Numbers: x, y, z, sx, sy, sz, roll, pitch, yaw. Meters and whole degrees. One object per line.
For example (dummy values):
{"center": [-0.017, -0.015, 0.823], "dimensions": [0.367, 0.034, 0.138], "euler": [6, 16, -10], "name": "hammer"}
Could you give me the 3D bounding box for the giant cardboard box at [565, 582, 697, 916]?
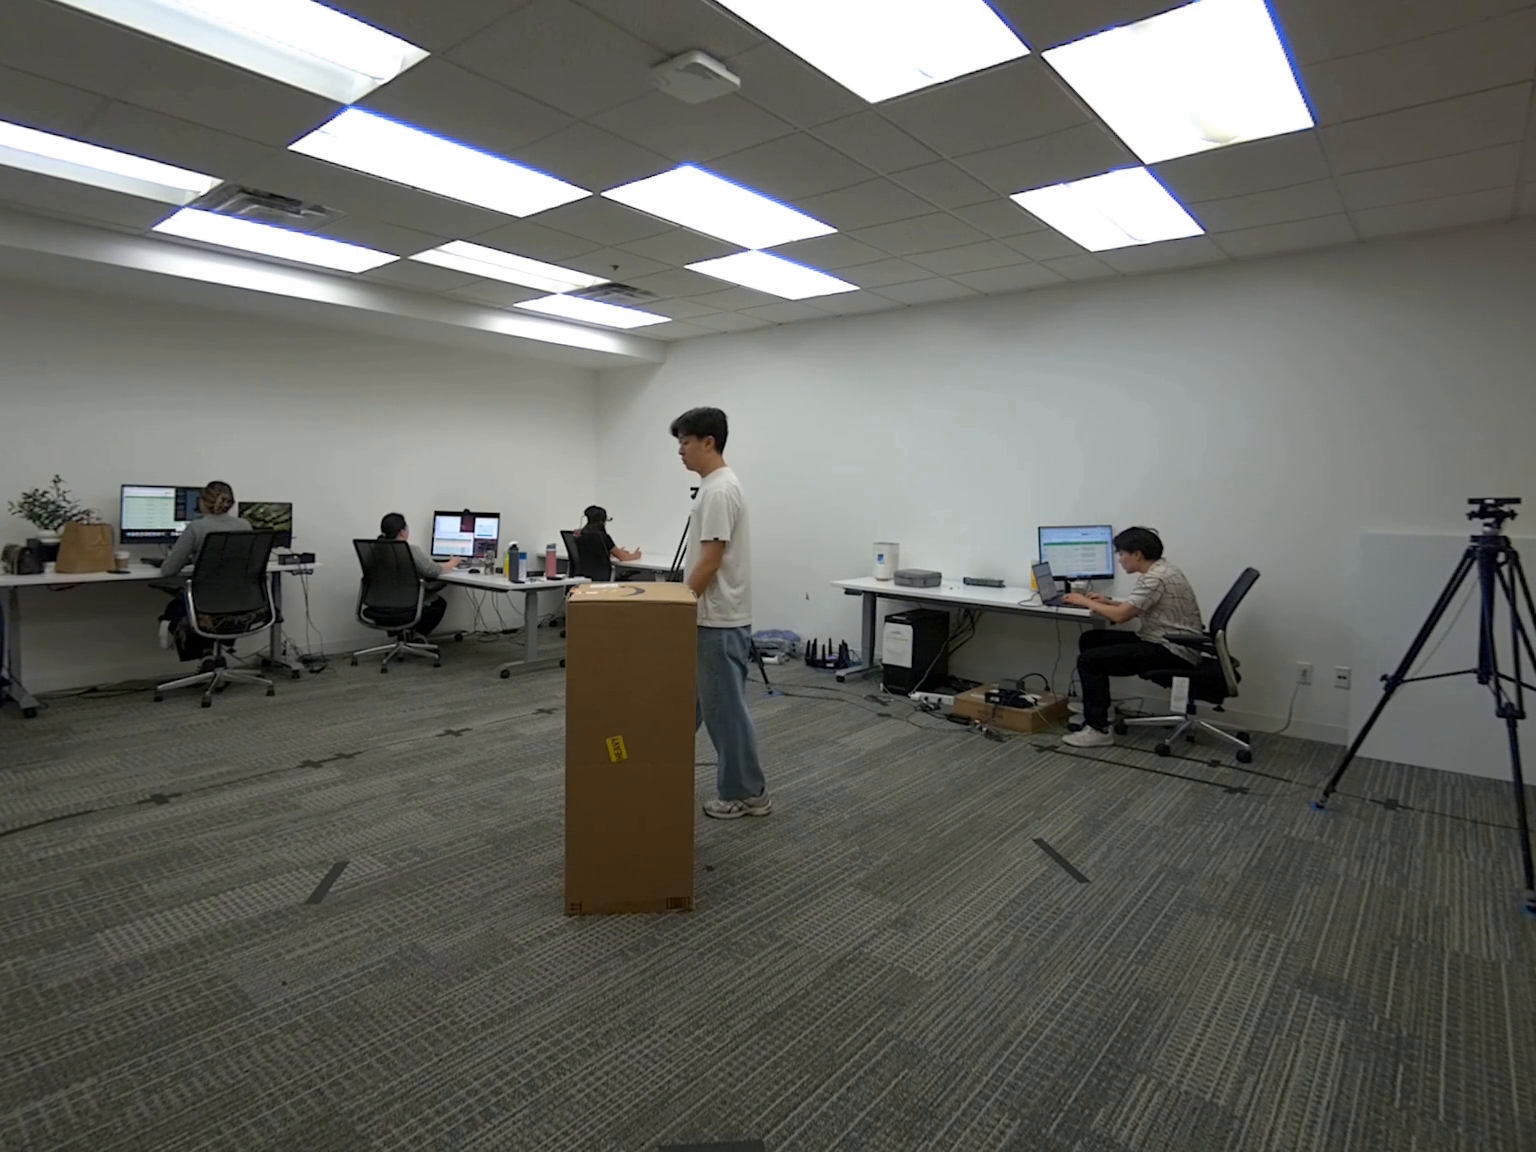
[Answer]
{"center": [-0.501, 0.561, 3.024], "dimensions": [0.423, 1.023, 0.584], "euler": [0, 3, -8], "name": "giant cardboard box"}
